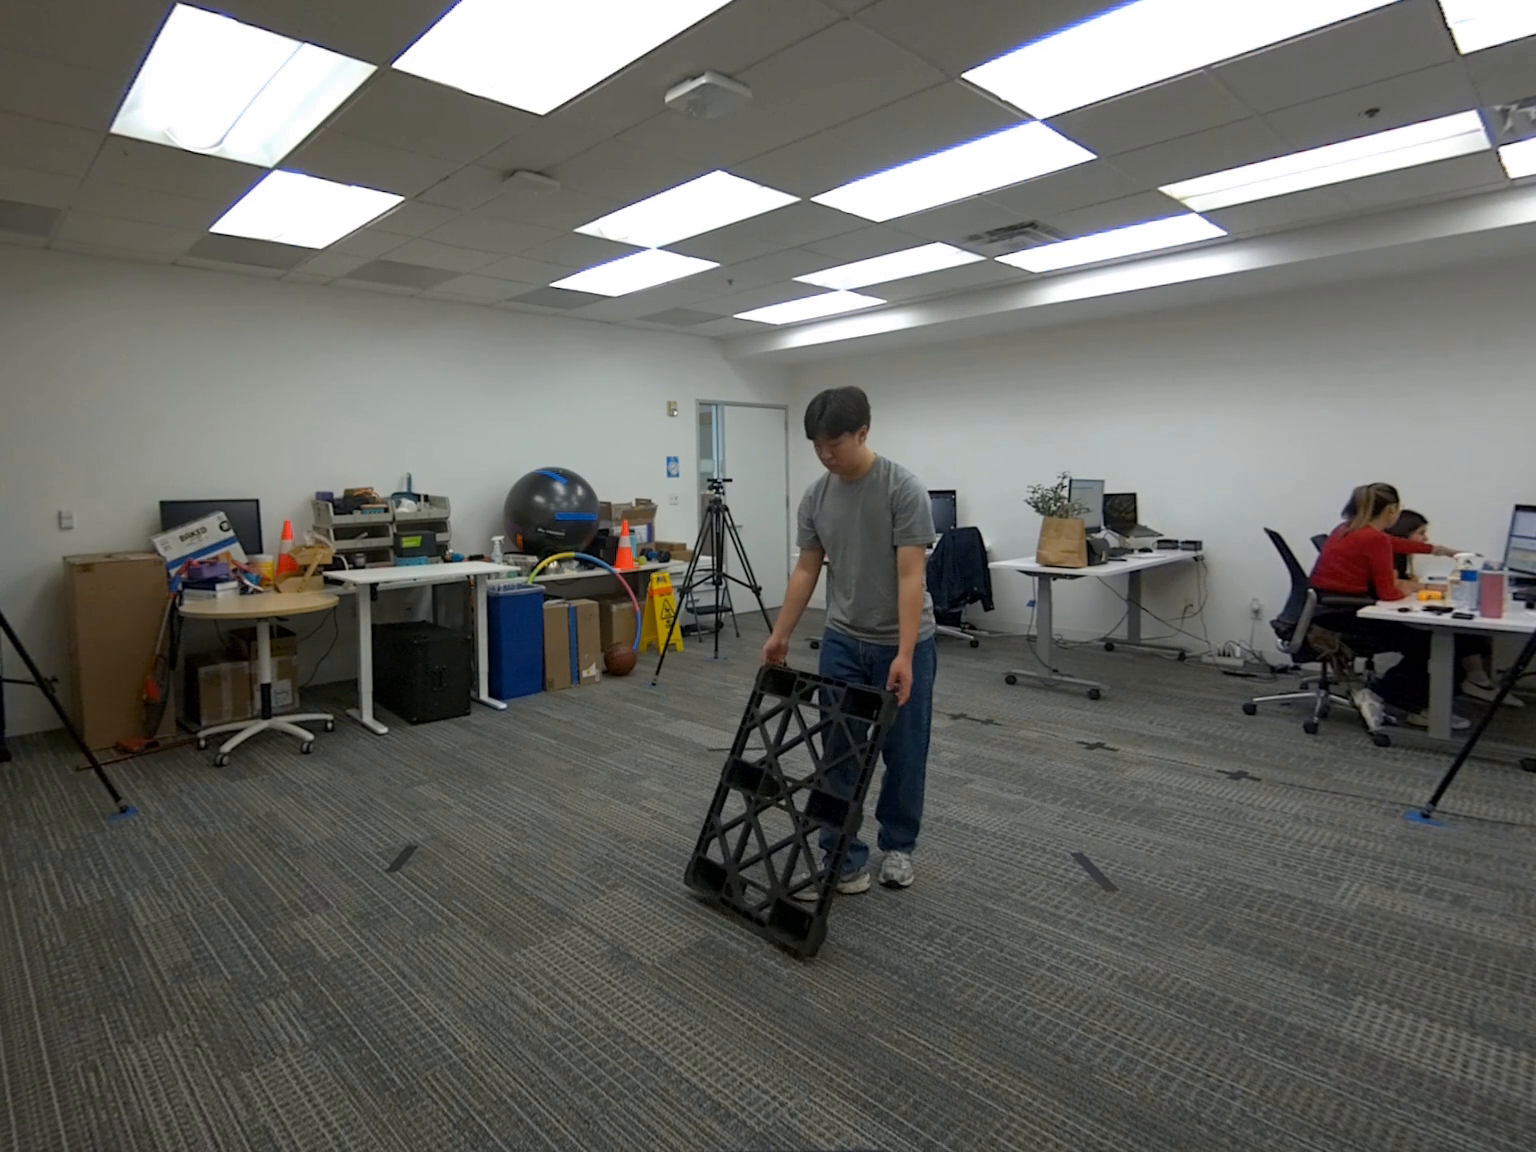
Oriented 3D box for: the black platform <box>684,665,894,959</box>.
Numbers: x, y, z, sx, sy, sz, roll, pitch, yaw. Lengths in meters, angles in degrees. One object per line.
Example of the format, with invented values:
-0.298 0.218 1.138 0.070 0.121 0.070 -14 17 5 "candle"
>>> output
0.087 0.722 2.792 0.138 0.811 0.624 32 -18 -38 "black platform"
